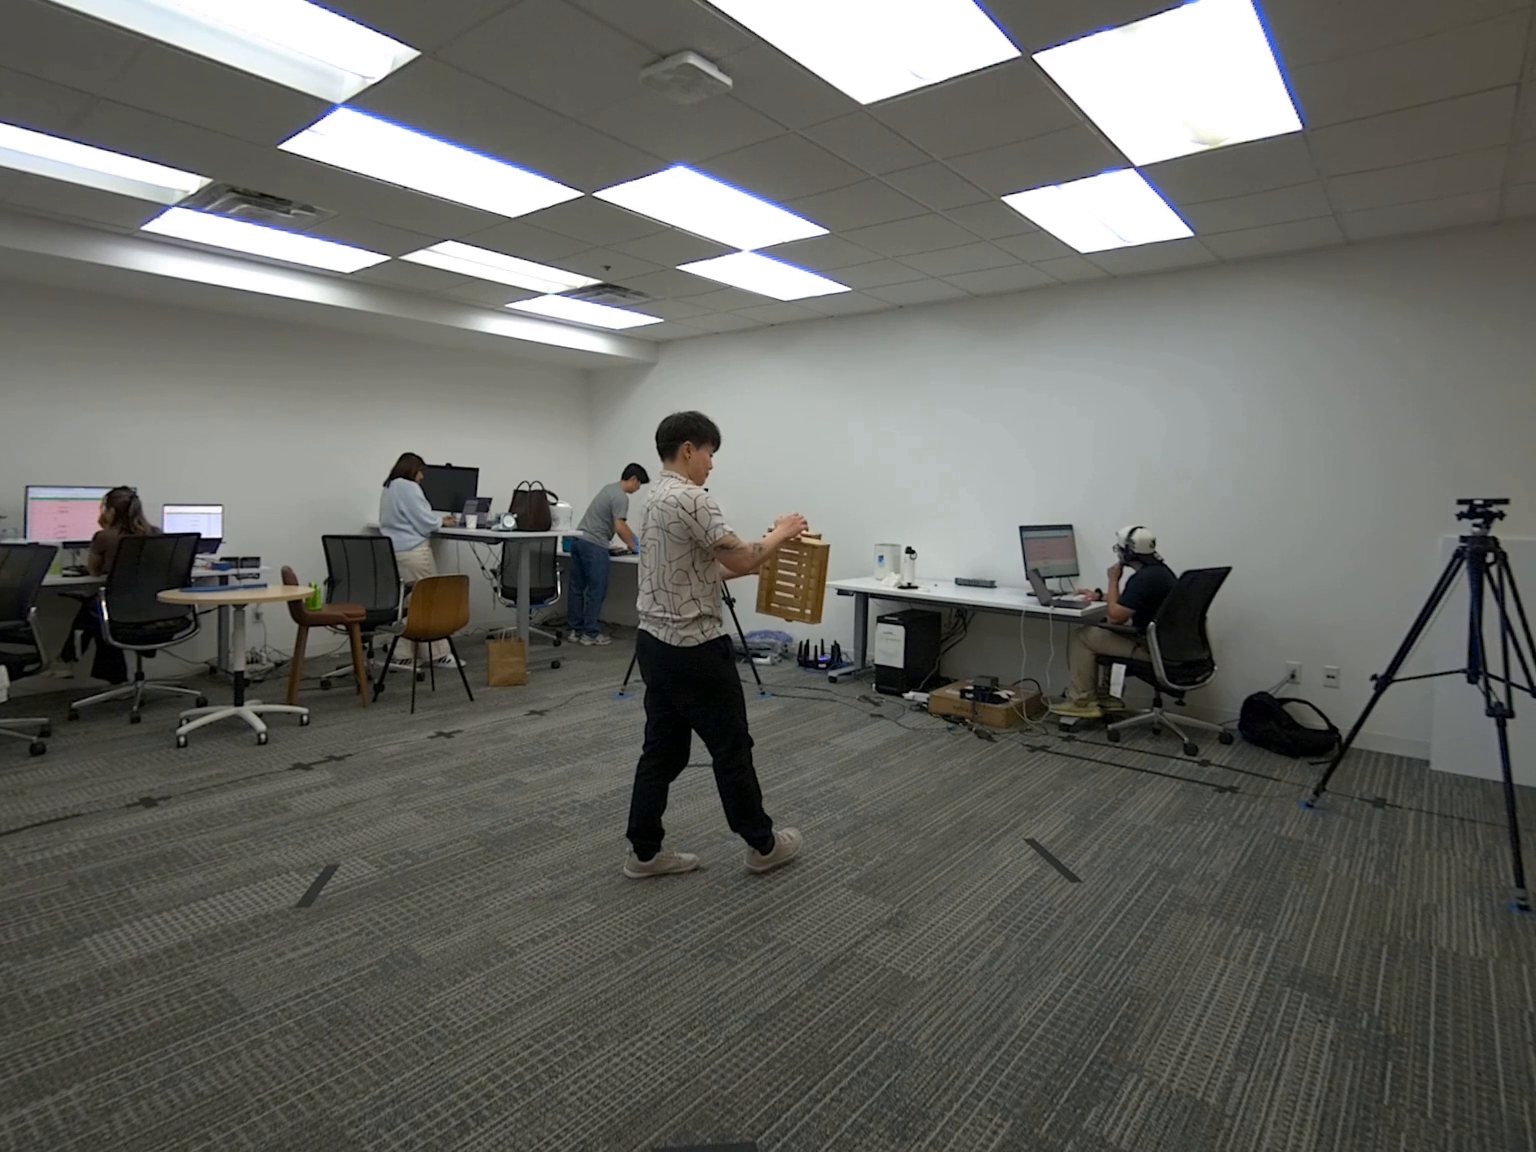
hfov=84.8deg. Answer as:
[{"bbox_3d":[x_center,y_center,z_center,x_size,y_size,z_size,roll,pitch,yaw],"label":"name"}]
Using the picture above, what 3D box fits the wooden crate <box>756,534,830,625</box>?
[{"bbox_3d":[0.103,-0.013,3.288,0.310,0.321,0.268,10,12,24],"label":"wooden crate"}]
